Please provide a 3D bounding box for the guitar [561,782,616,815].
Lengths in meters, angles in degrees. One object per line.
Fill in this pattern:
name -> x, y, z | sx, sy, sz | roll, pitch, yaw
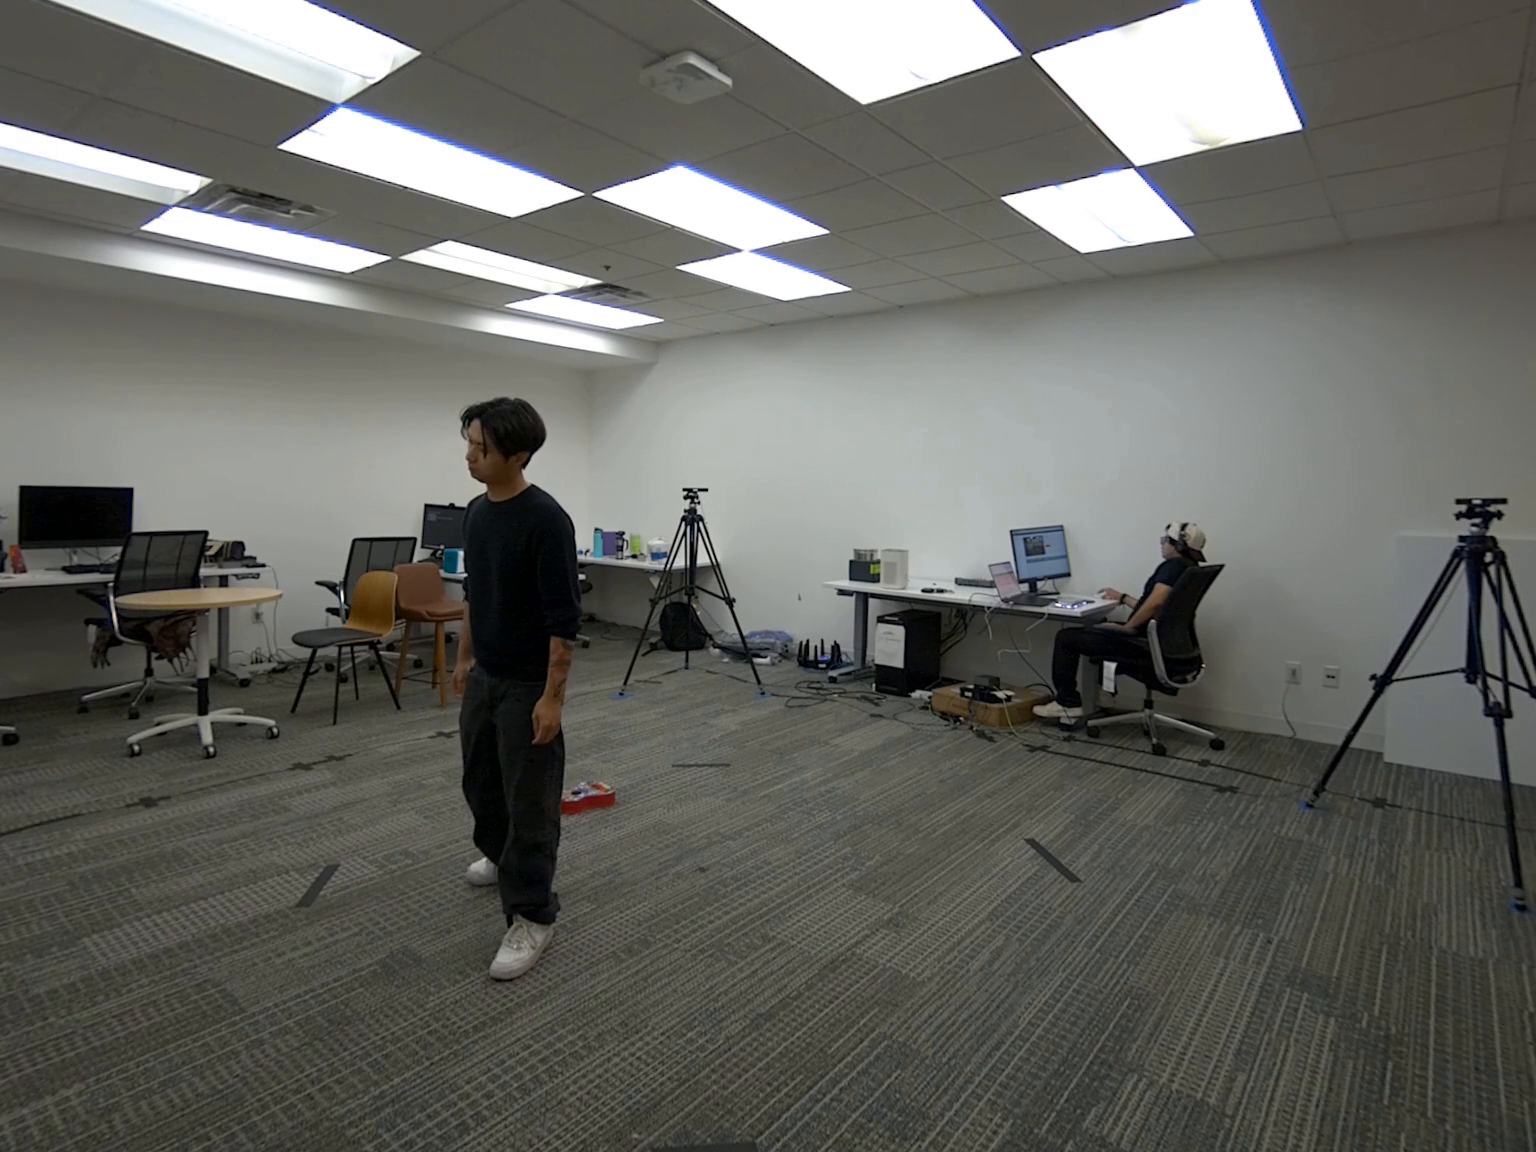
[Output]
guitar -> -0.920, 0.974, 3.681 | 0.483, 0.070, 0.199 | -3, 7, -36
